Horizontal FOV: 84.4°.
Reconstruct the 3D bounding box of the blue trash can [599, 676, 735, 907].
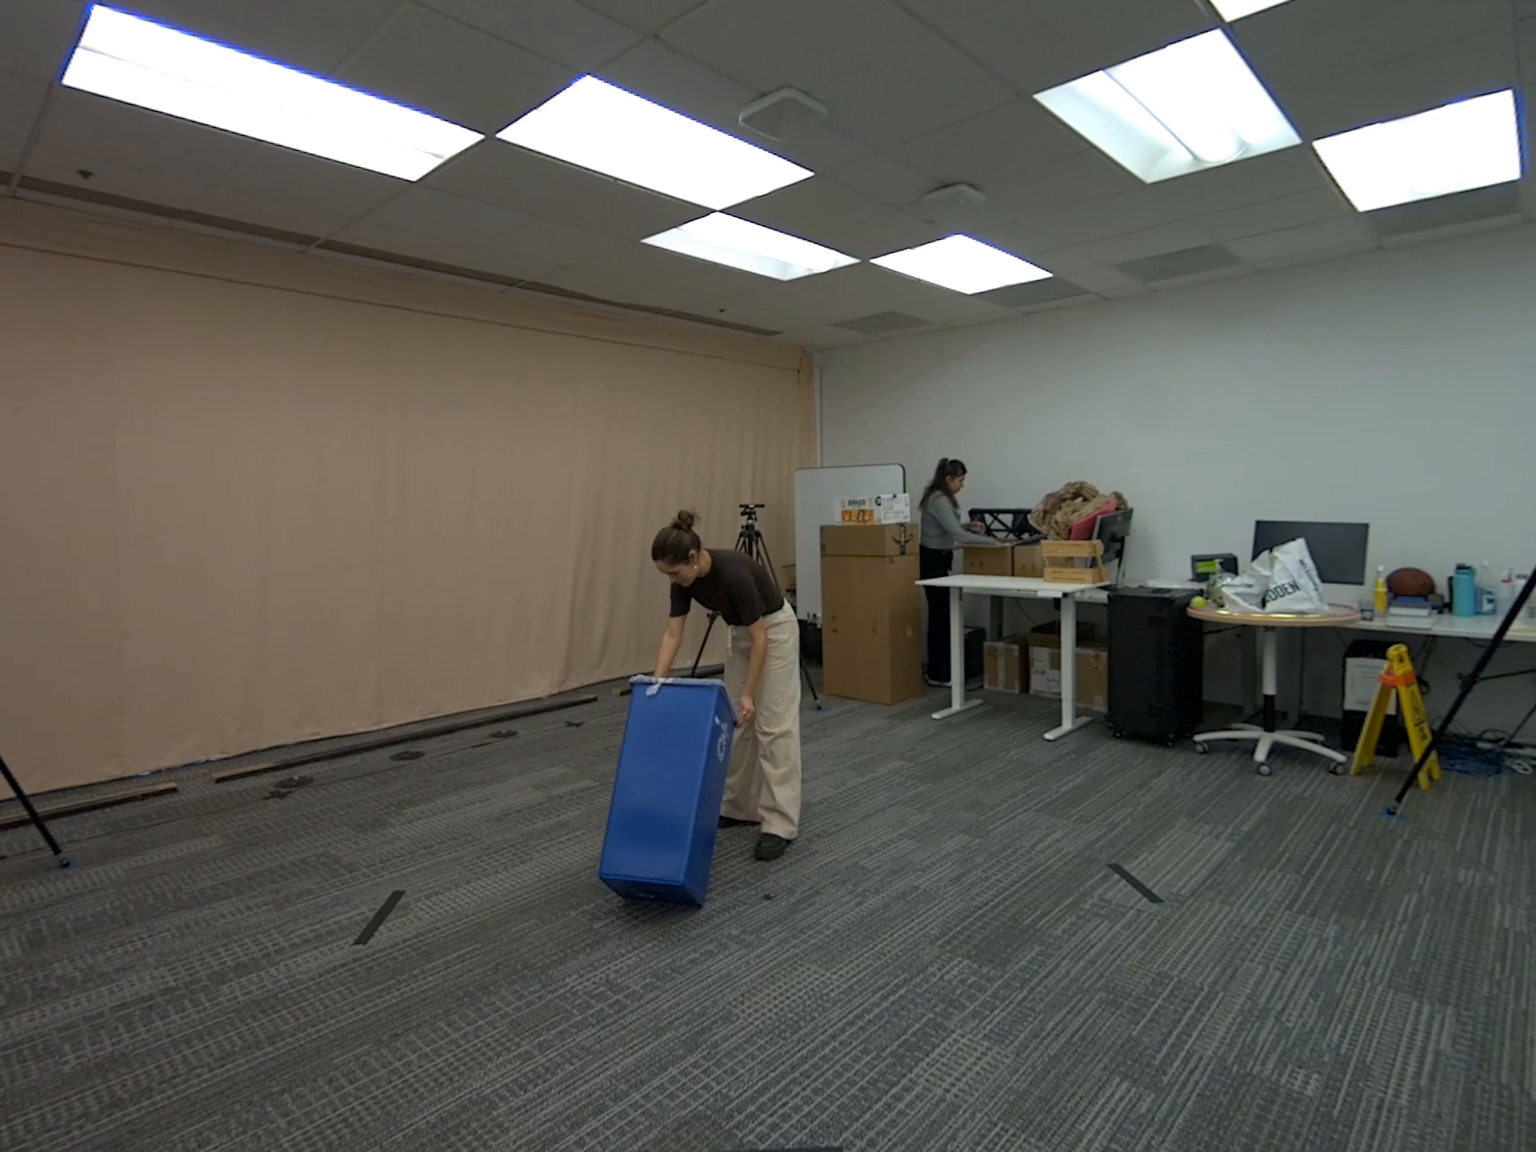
[{"bbox_3d":[-0.359,0.776,3.042,0.384,0.722,0.364,0,-33,12],"label":"blue trash can"}]
